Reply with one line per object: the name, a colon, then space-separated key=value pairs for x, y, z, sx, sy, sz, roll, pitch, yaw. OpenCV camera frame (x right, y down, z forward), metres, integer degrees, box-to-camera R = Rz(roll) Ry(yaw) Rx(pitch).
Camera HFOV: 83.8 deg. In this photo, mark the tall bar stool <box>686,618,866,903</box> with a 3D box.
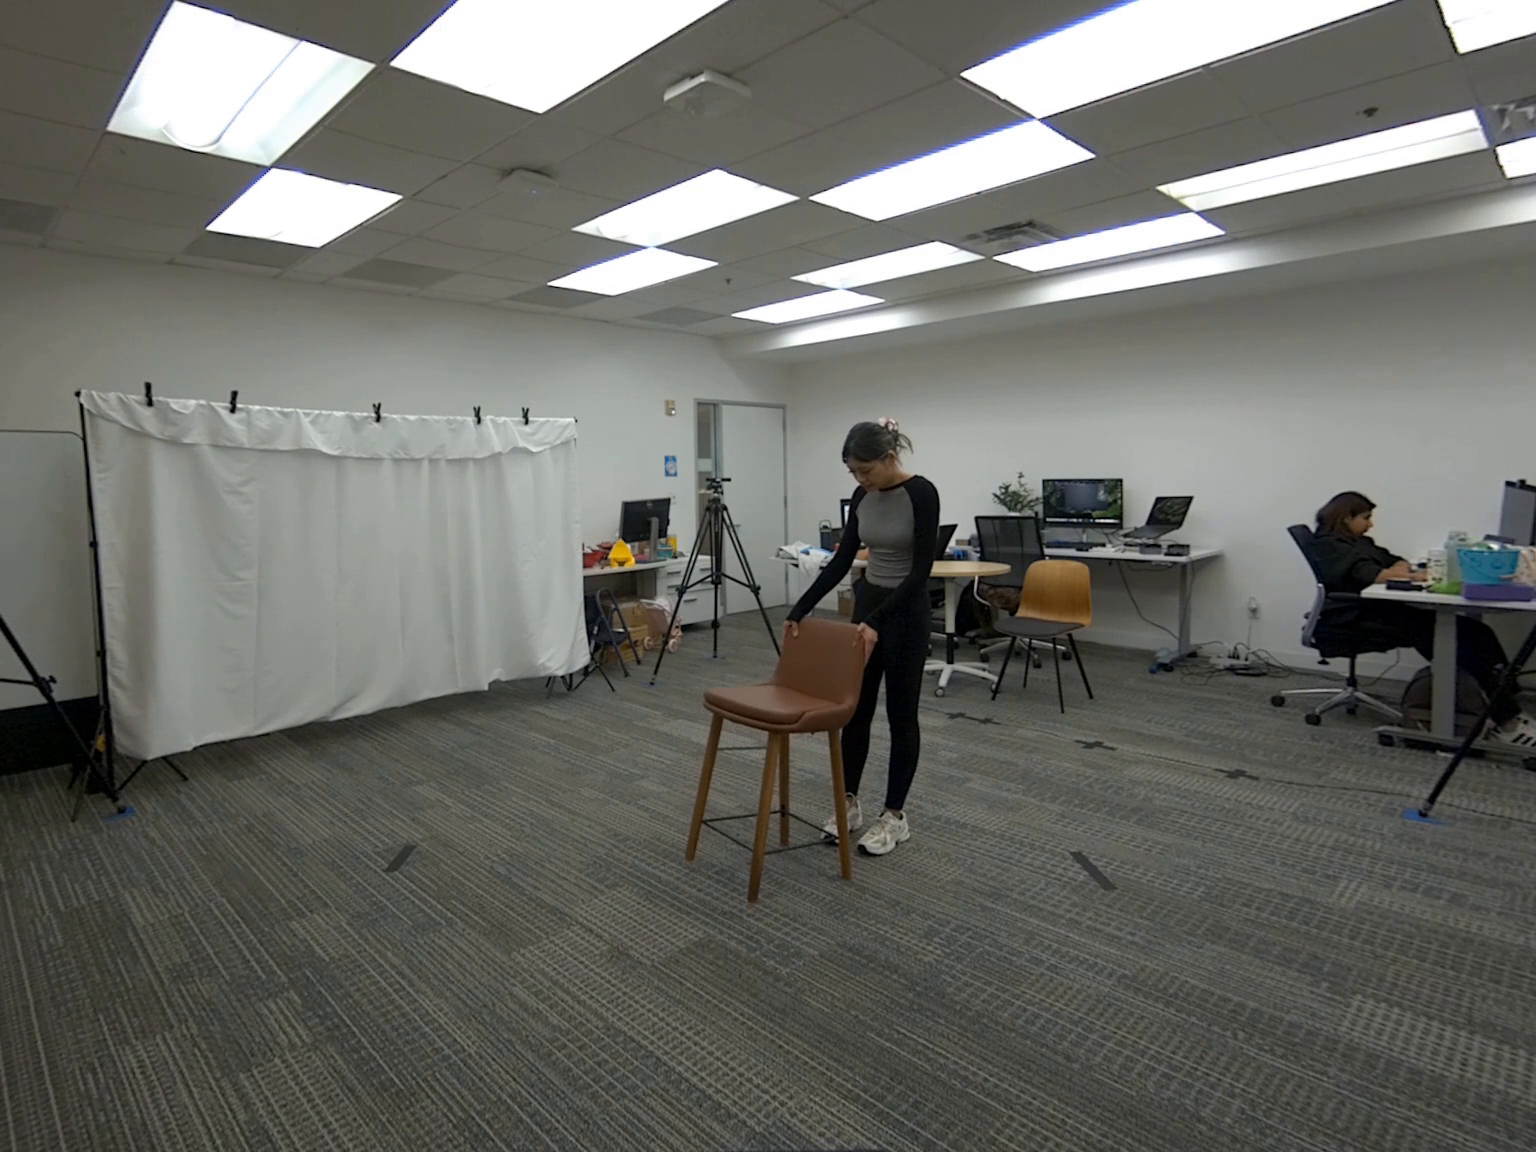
tall bar stool: x=0.045 y=0.596 z=2.999 sx=0.454 sy=0.891 sz=0.470 roll=6 pitch=-1 yaw=-36
